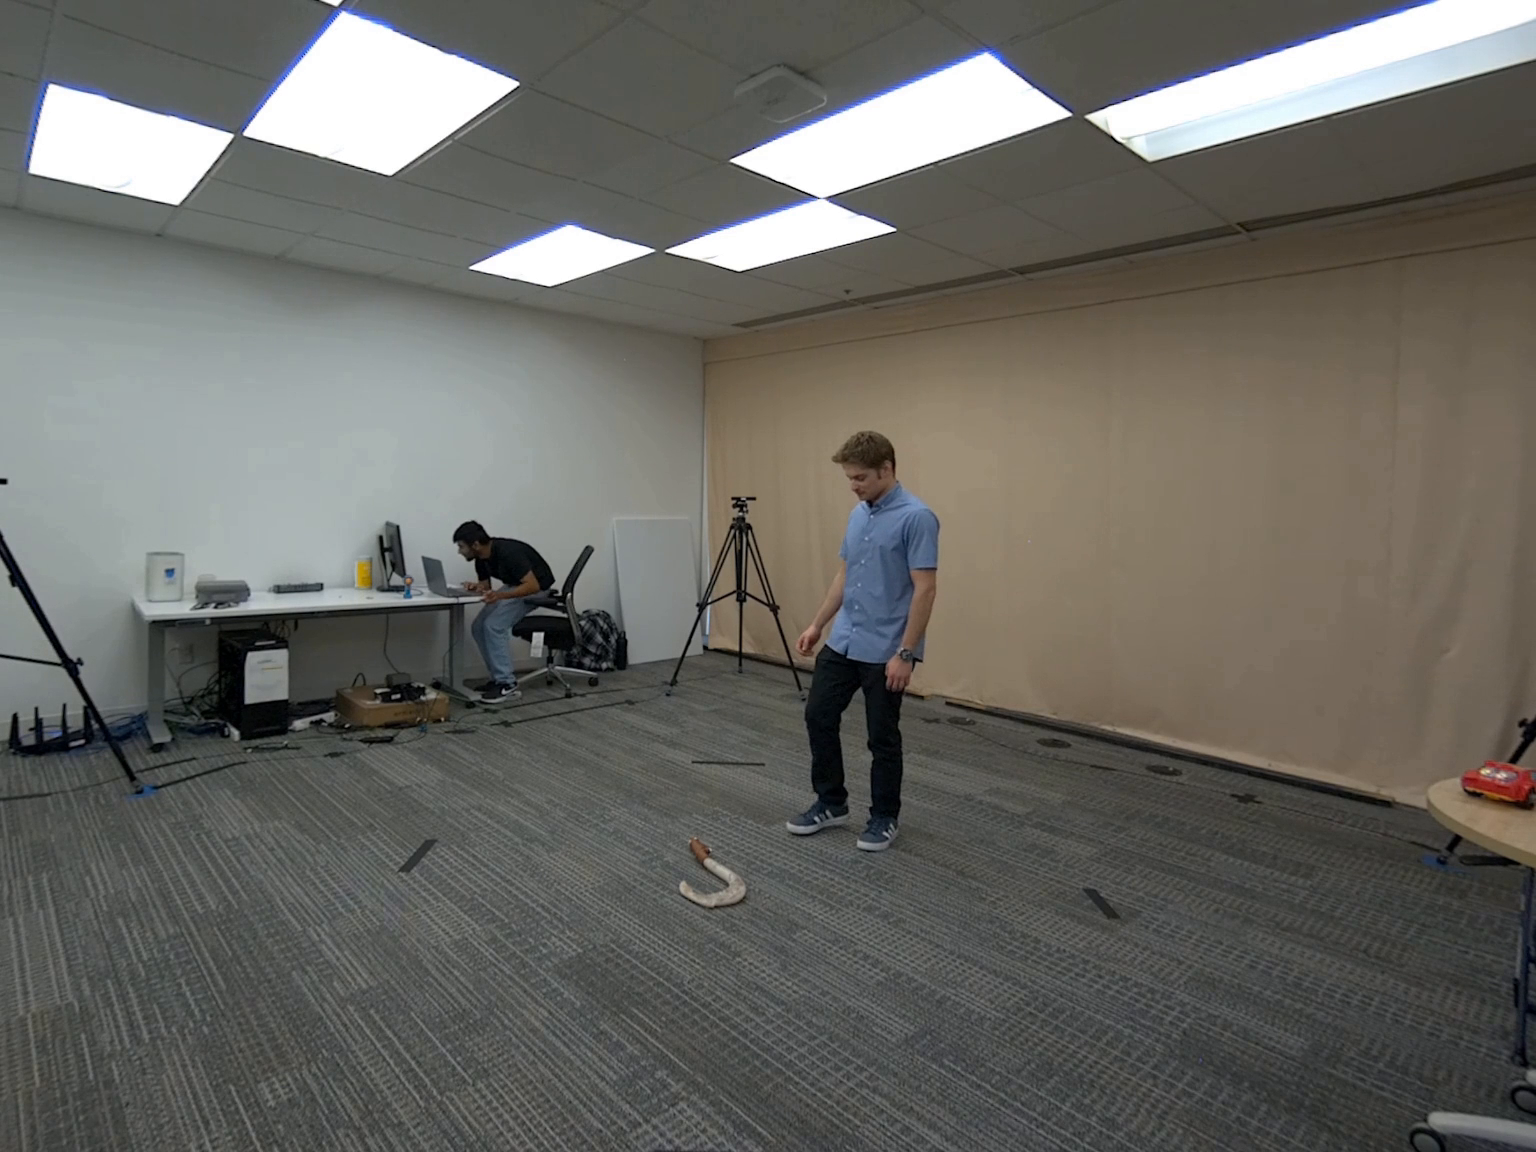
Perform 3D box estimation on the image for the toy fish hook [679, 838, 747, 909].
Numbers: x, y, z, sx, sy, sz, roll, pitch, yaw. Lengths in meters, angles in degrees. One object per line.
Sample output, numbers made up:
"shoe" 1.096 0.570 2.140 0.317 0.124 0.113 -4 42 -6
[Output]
"toy fish hook" -0.252 1.083 3.093 0.221 0.048 0.516 1 5 -22
